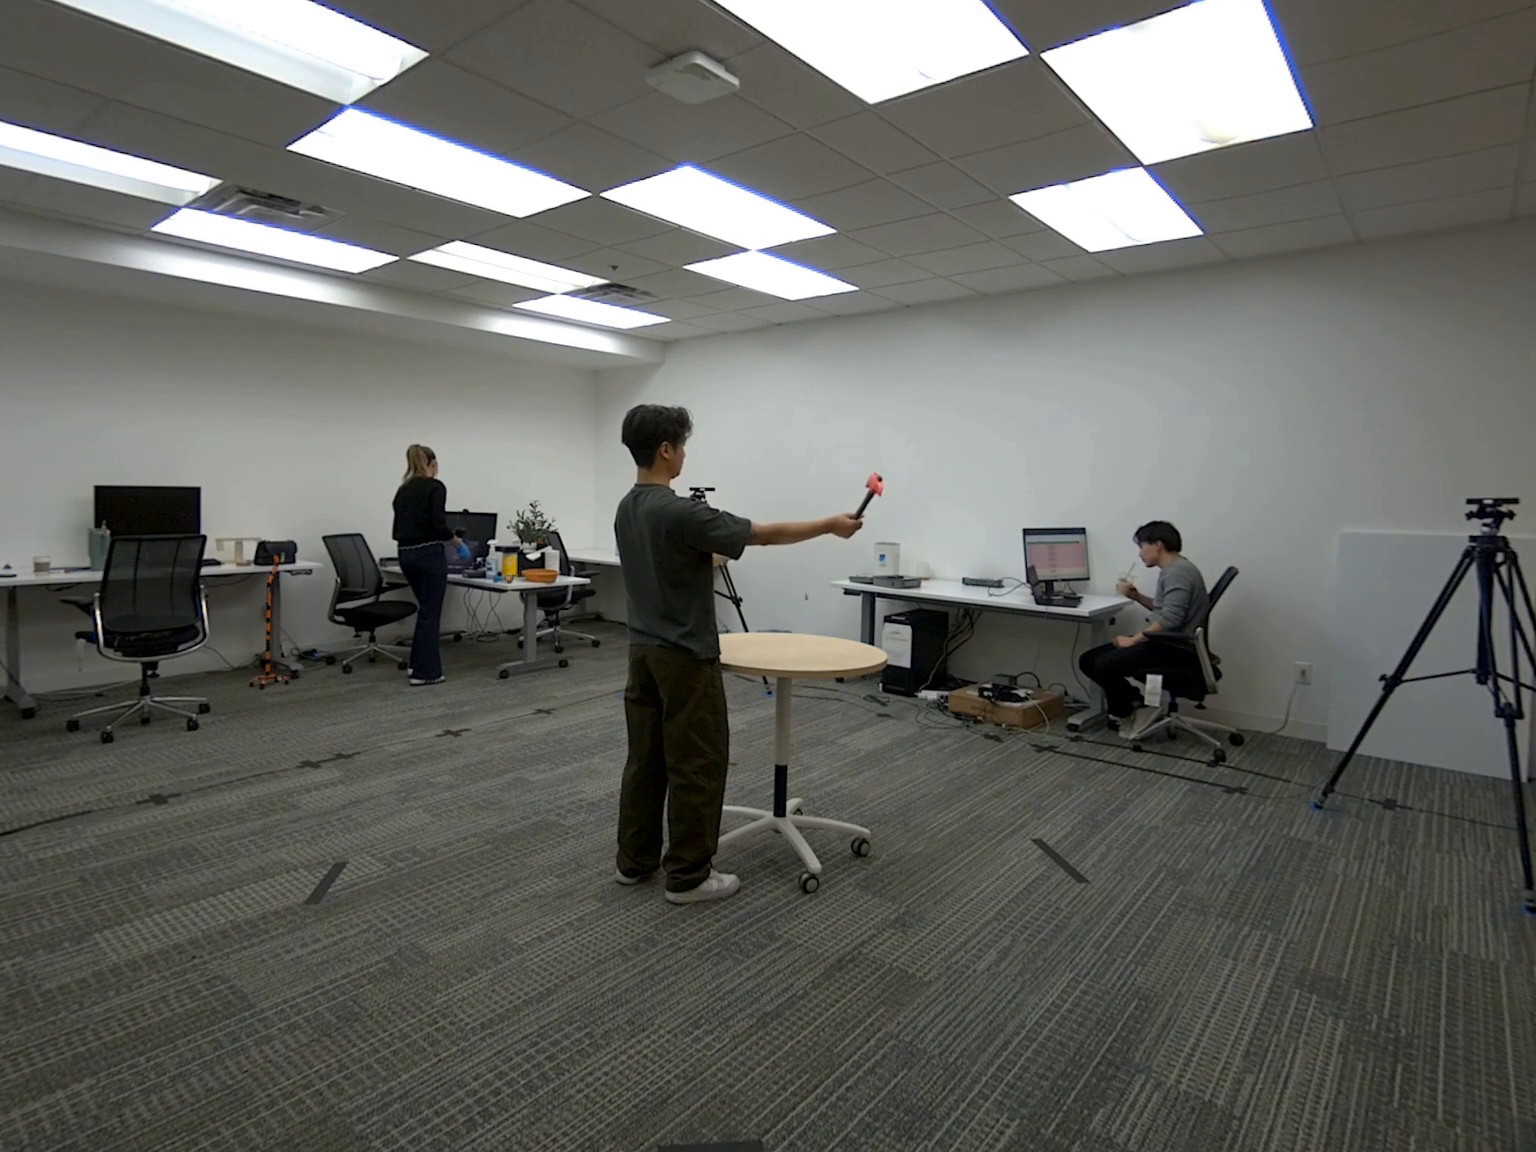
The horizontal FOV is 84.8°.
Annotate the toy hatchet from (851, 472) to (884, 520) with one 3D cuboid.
[{"bbox_3d":[0.305,-0.257,2.881,0.029,0.134,0.270,17,-34,-20],"label":"toy hatchet"}]
